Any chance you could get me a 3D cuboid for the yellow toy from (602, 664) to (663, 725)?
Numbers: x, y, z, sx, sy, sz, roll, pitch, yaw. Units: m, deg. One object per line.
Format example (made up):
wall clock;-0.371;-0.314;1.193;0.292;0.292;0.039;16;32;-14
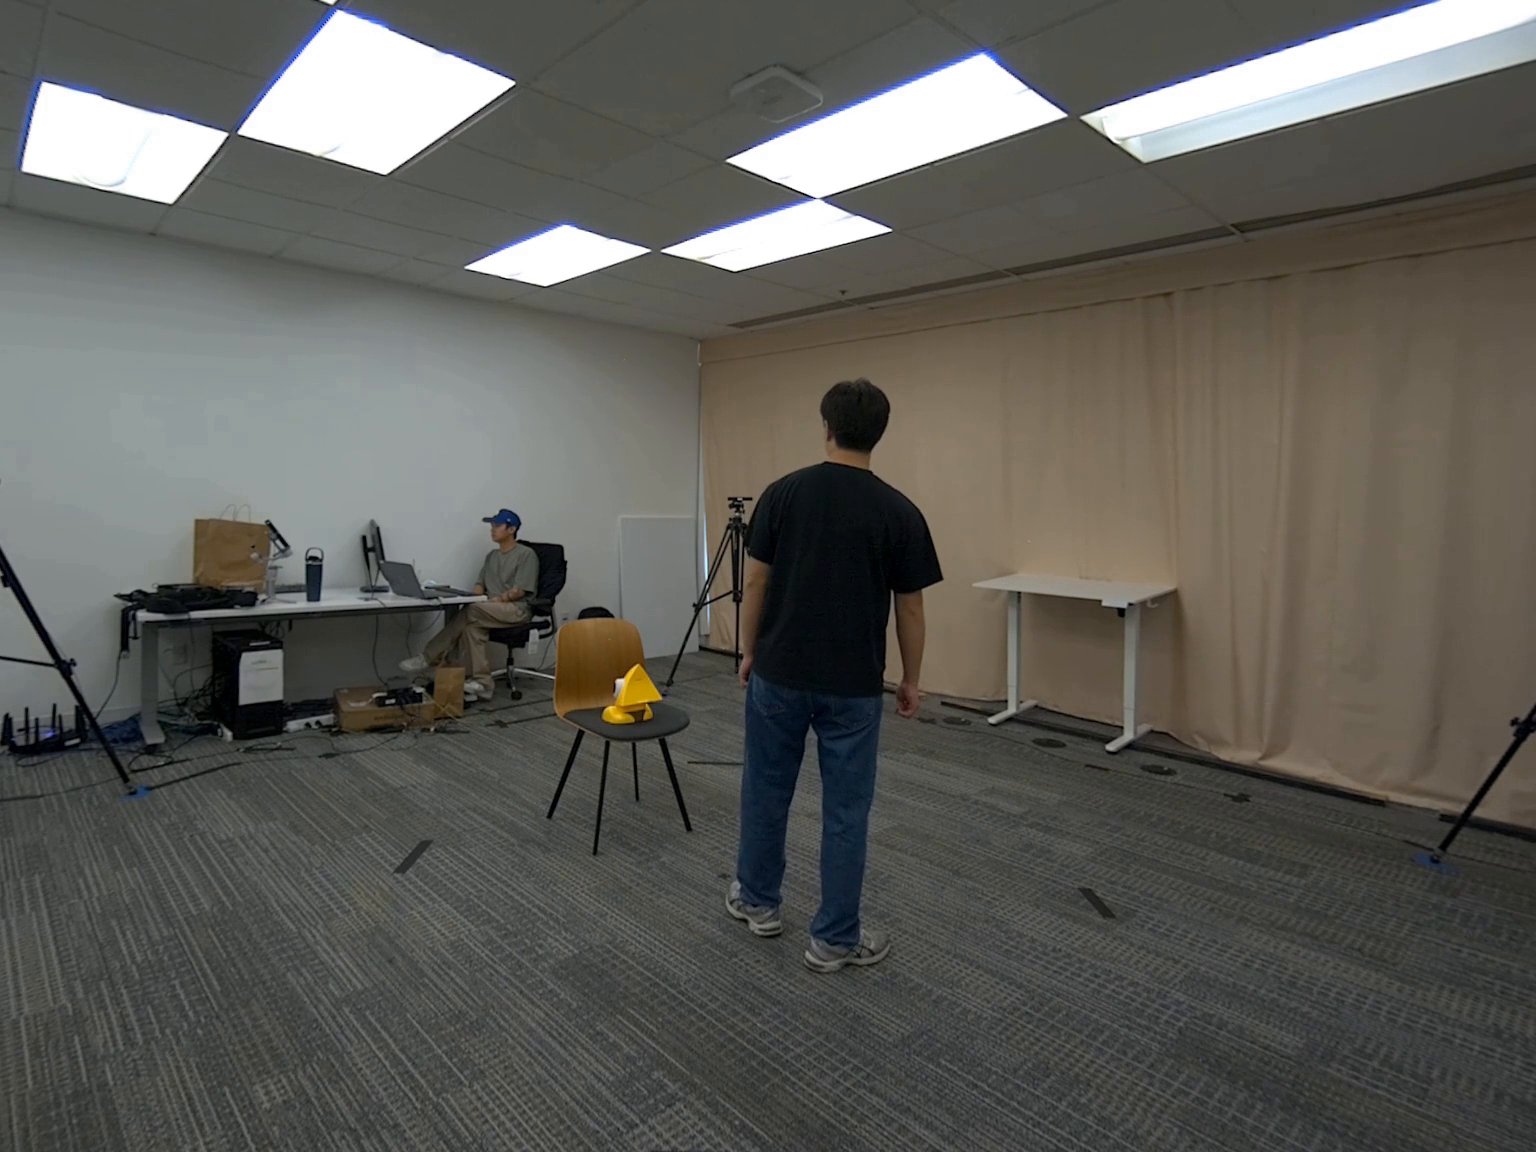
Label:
yellow toy;-0.580;0.470;3.459;0.198;0.230;0.200;2;2;45
